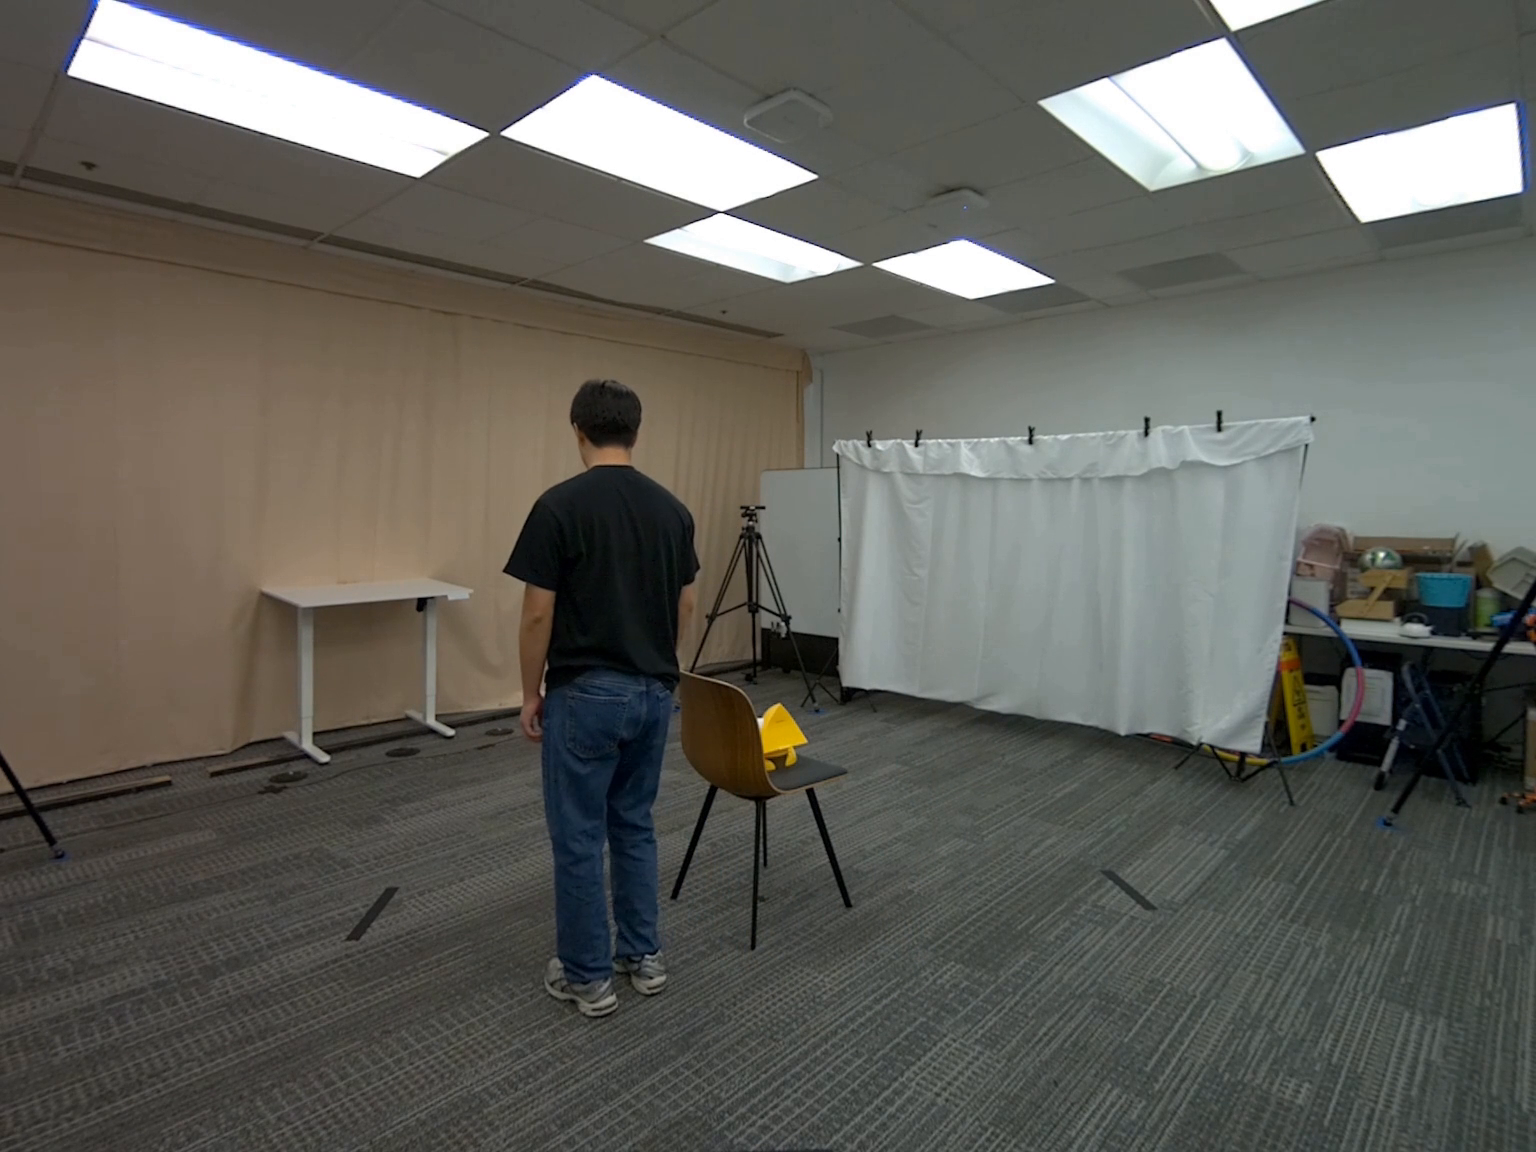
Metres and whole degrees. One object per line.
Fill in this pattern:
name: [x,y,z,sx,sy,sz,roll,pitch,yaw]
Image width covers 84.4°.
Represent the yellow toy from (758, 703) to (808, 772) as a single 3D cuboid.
yellow toy: [0.008,0.551,2.986,0.199,0.229,0.199,-6,11,-33]
